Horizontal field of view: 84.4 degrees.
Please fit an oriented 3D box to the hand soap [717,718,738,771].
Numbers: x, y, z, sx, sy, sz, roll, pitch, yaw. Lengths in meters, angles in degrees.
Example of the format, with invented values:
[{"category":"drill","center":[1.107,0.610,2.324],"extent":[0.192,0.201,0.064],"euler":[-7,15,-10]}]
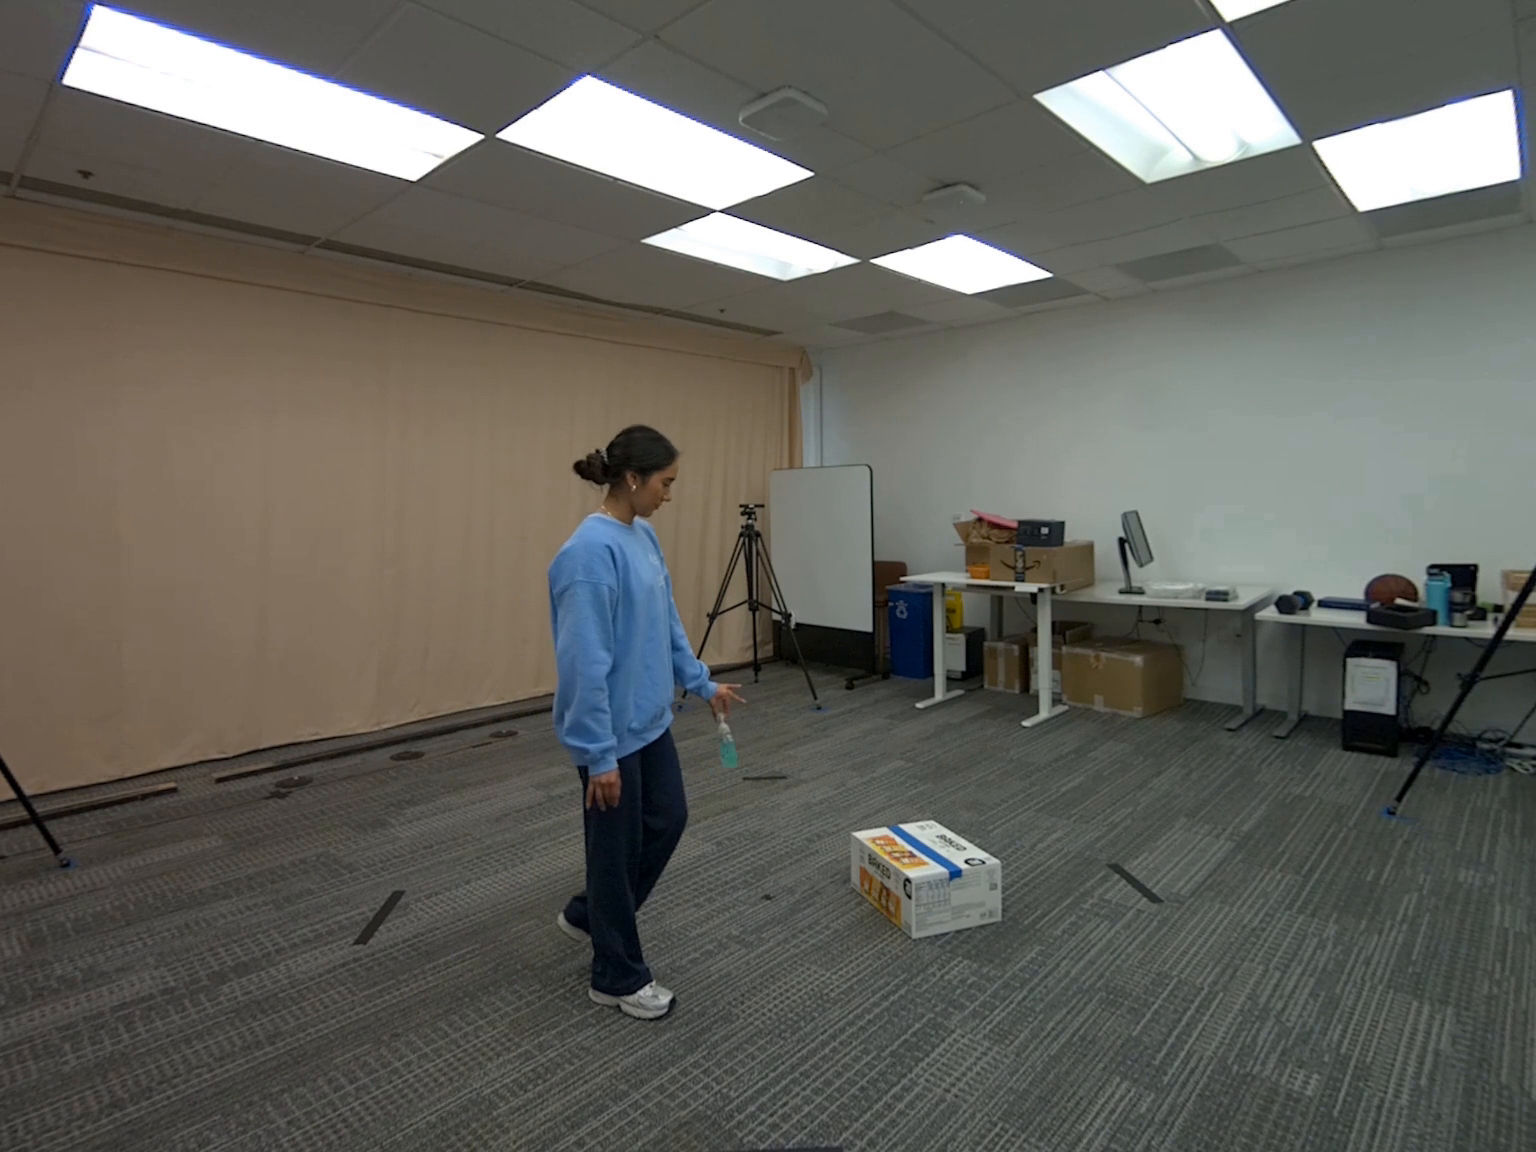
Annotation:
[{"category":"hand soap","center":[-0.131,0.518,2.655],"extent":[0.042,0.167,0.087],"euler":[-12,10,-24]}]
